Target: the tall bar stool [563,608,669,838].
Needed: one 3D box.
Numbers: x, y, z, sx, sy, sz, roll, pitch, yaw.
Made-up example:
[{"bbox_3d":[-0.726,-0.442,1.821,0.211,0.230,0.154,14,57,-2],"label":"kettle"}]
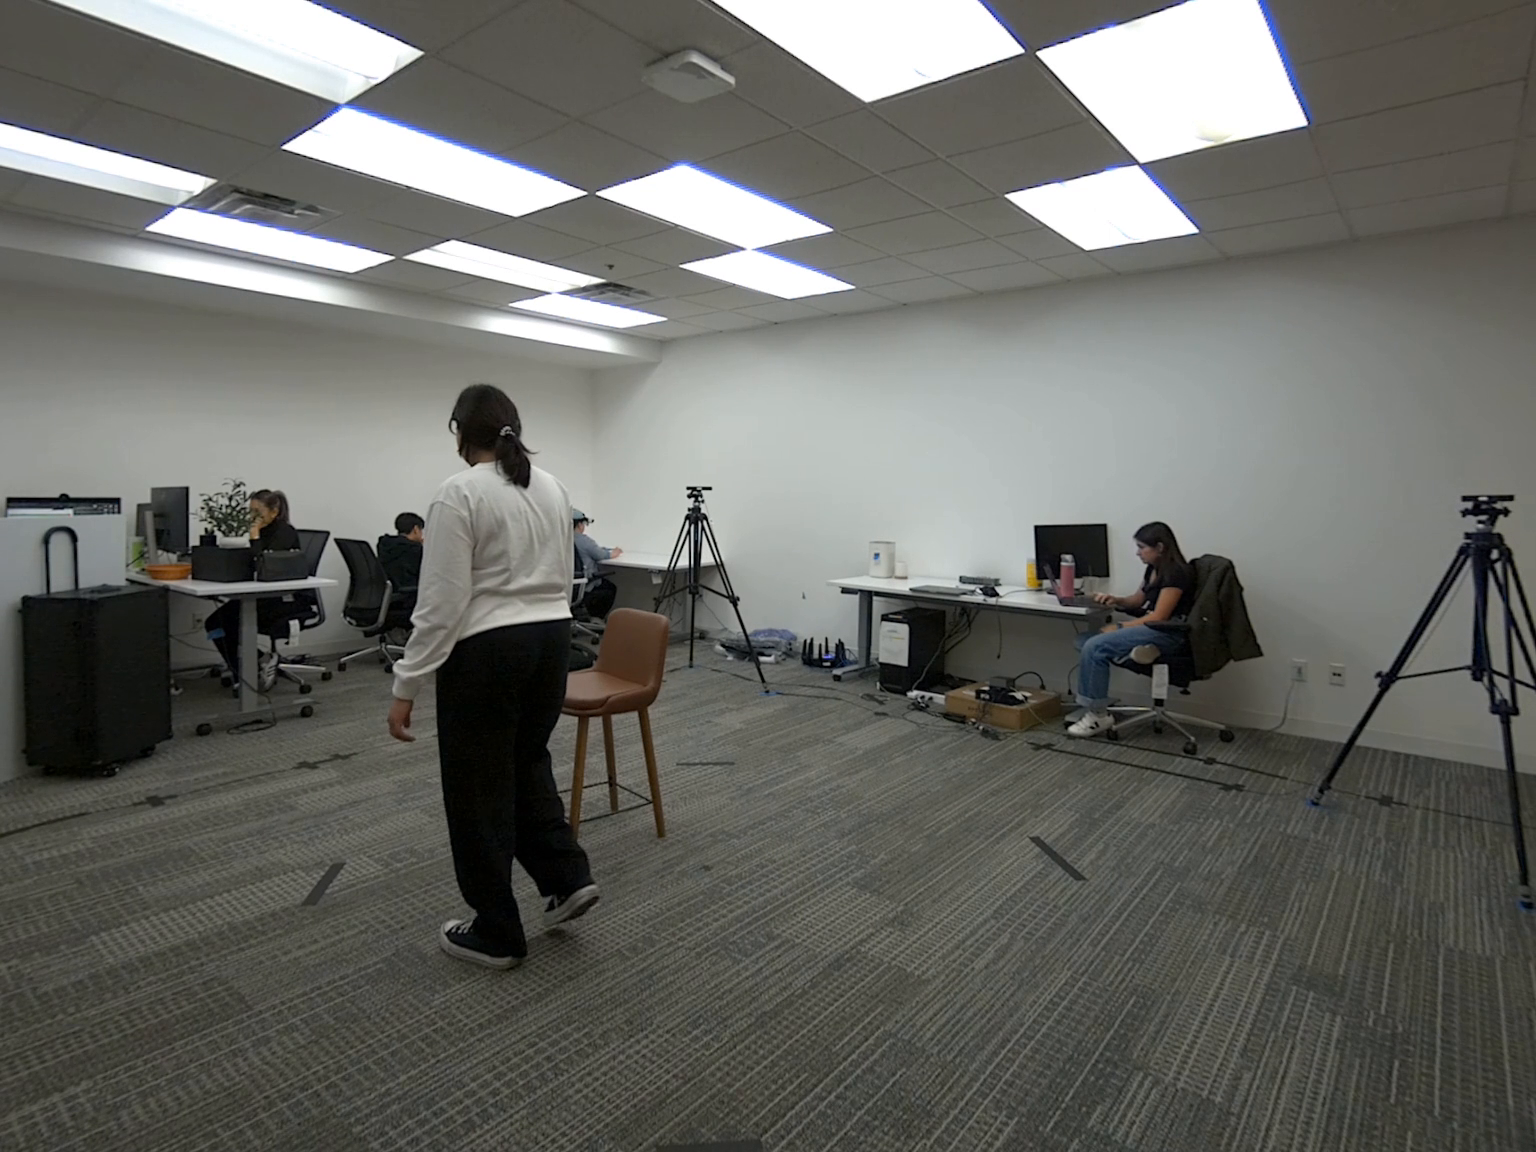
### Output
[{"bbox_3d":[-0.685,0.597,3.378,0.453,0.889,0.472,1,2,-42],"label":"tall bar stool"}]
